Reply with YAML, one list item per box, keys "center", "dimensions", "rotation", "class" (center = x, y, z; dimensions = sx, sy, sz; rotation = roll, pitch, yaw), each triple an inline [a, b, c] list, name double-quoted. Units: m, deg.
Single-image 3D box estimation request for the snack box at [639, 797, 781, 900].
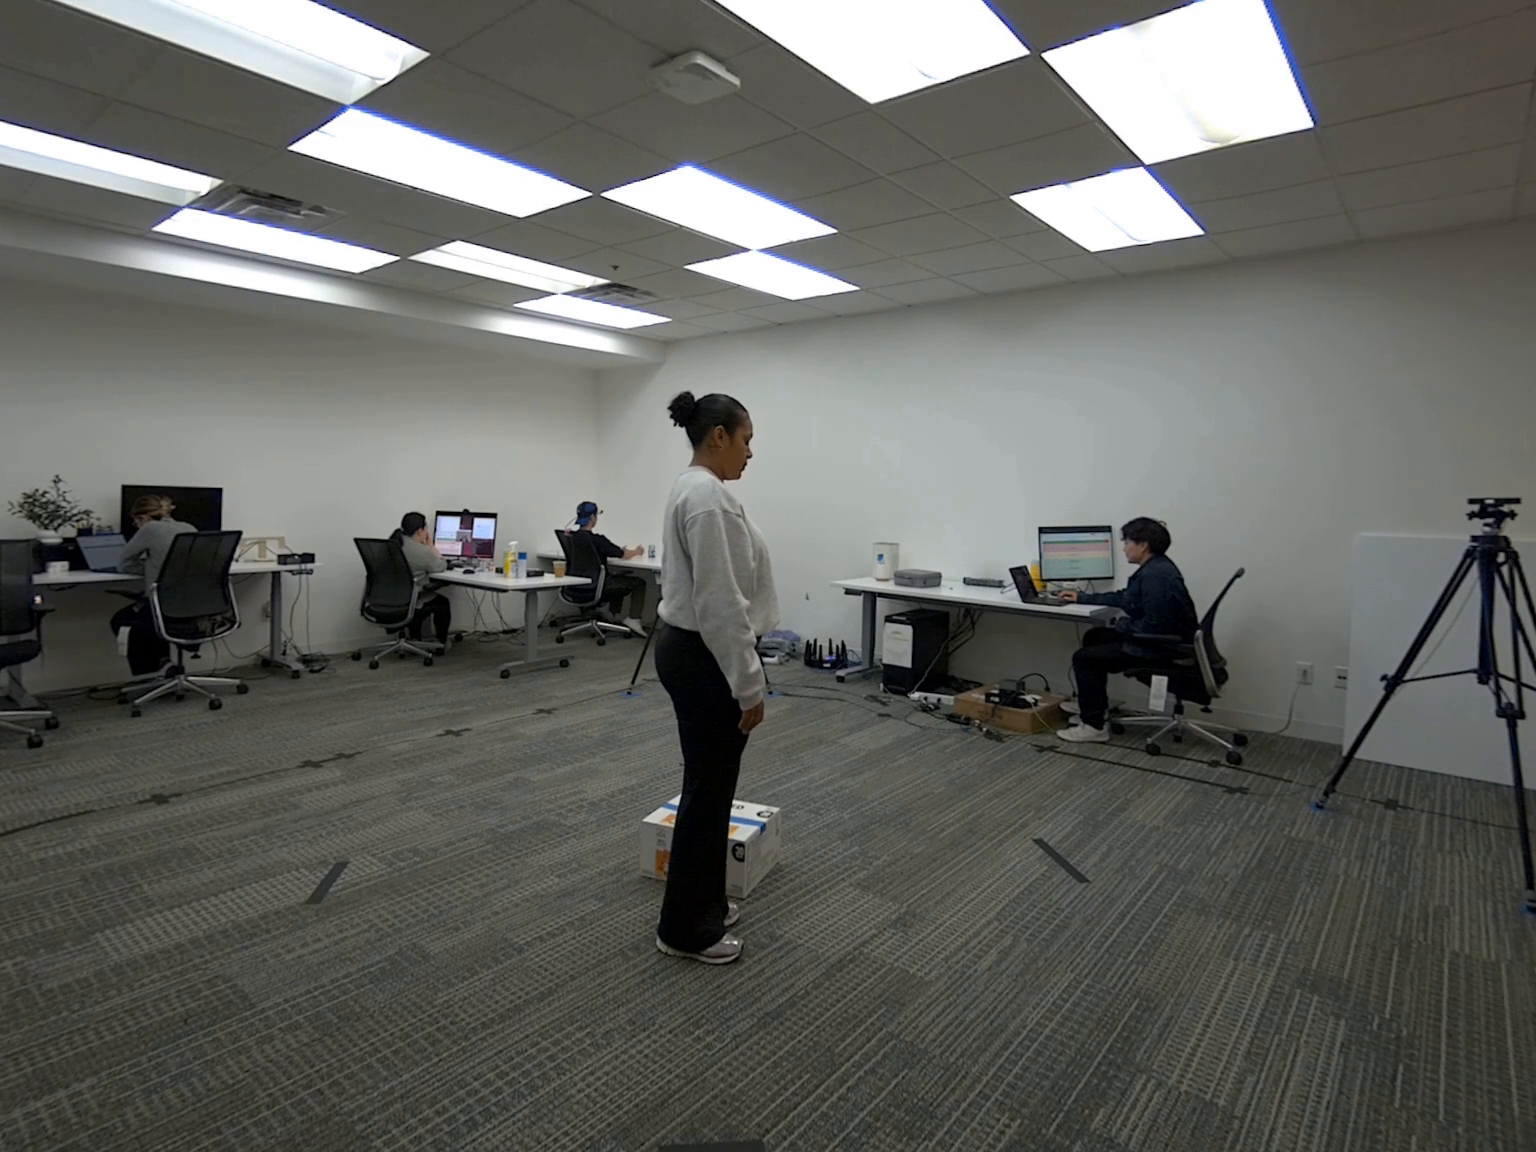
- center: [-0.214, 0.965, 3.097]
  dimensions: [0.415, 0.205, 0.333]
  rotation: [3, 5, 23]
  class: "snack box"
